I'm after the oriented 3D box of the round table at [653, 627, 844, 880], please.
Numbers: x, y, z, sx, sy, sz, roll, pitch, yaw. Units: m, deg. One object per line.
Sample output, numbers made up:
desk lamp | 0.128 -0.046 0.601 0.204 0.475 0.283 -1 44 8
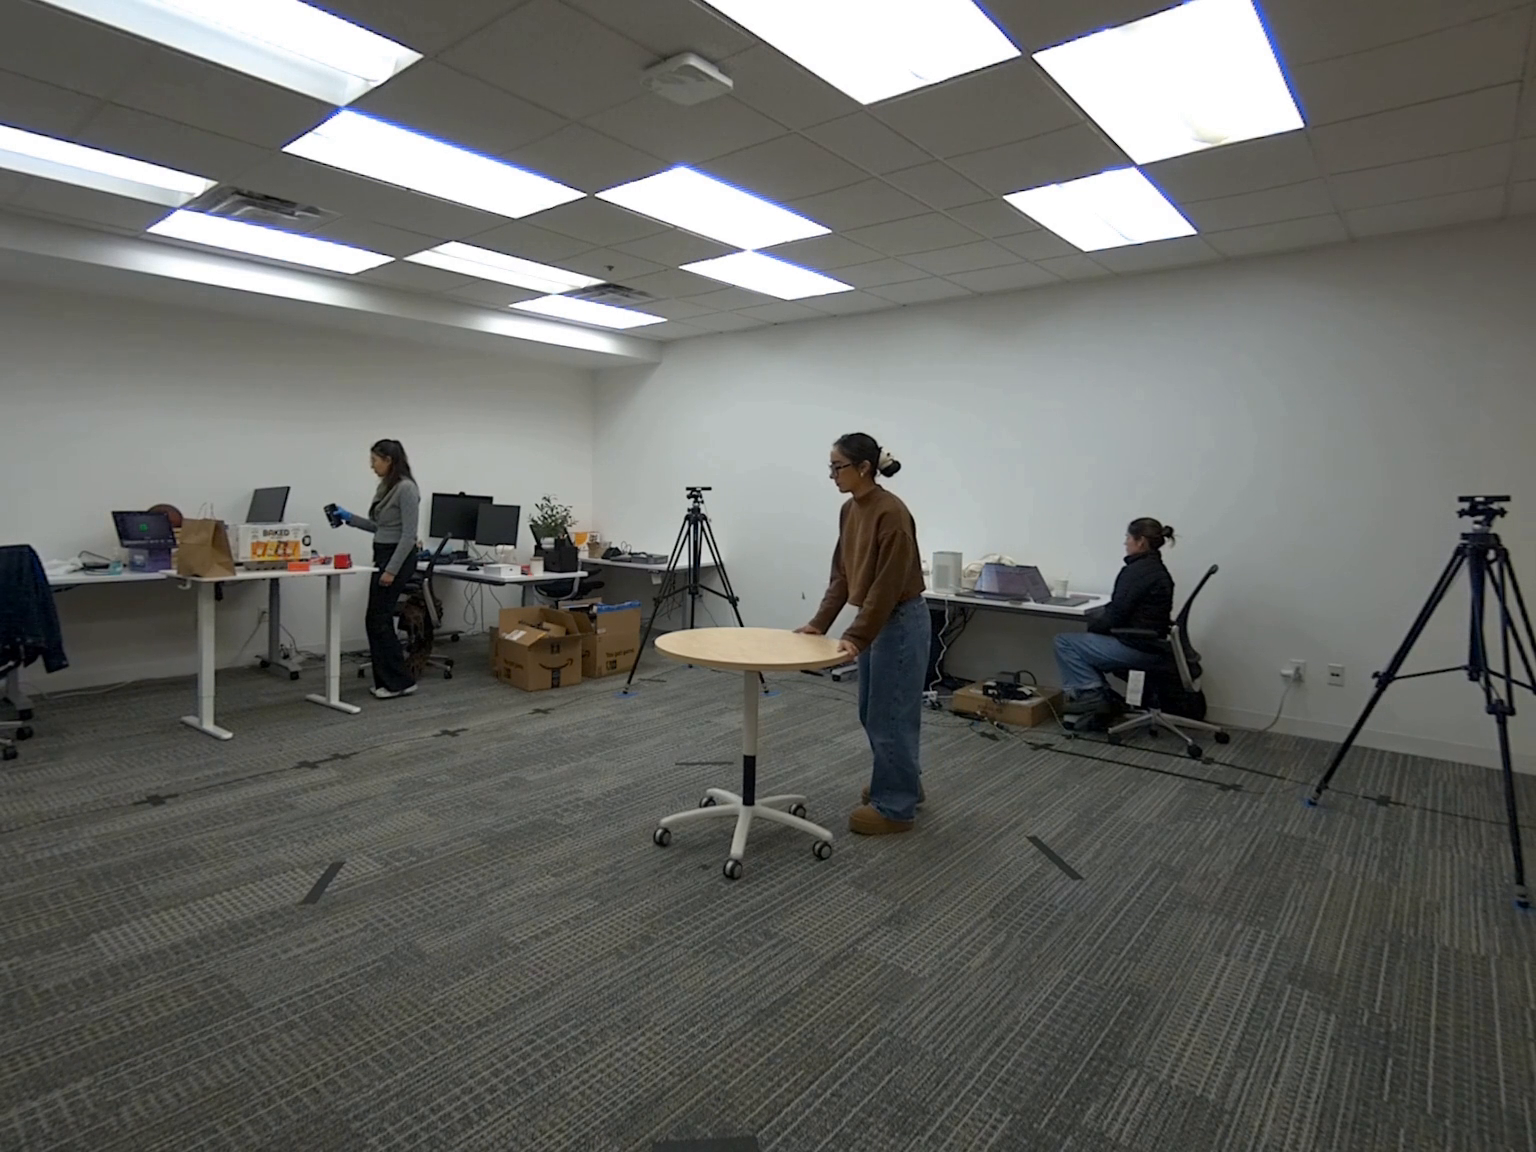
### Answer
round table | -0.084 0.654 3.358 0.763 0.791 0.768 1 4 -2
